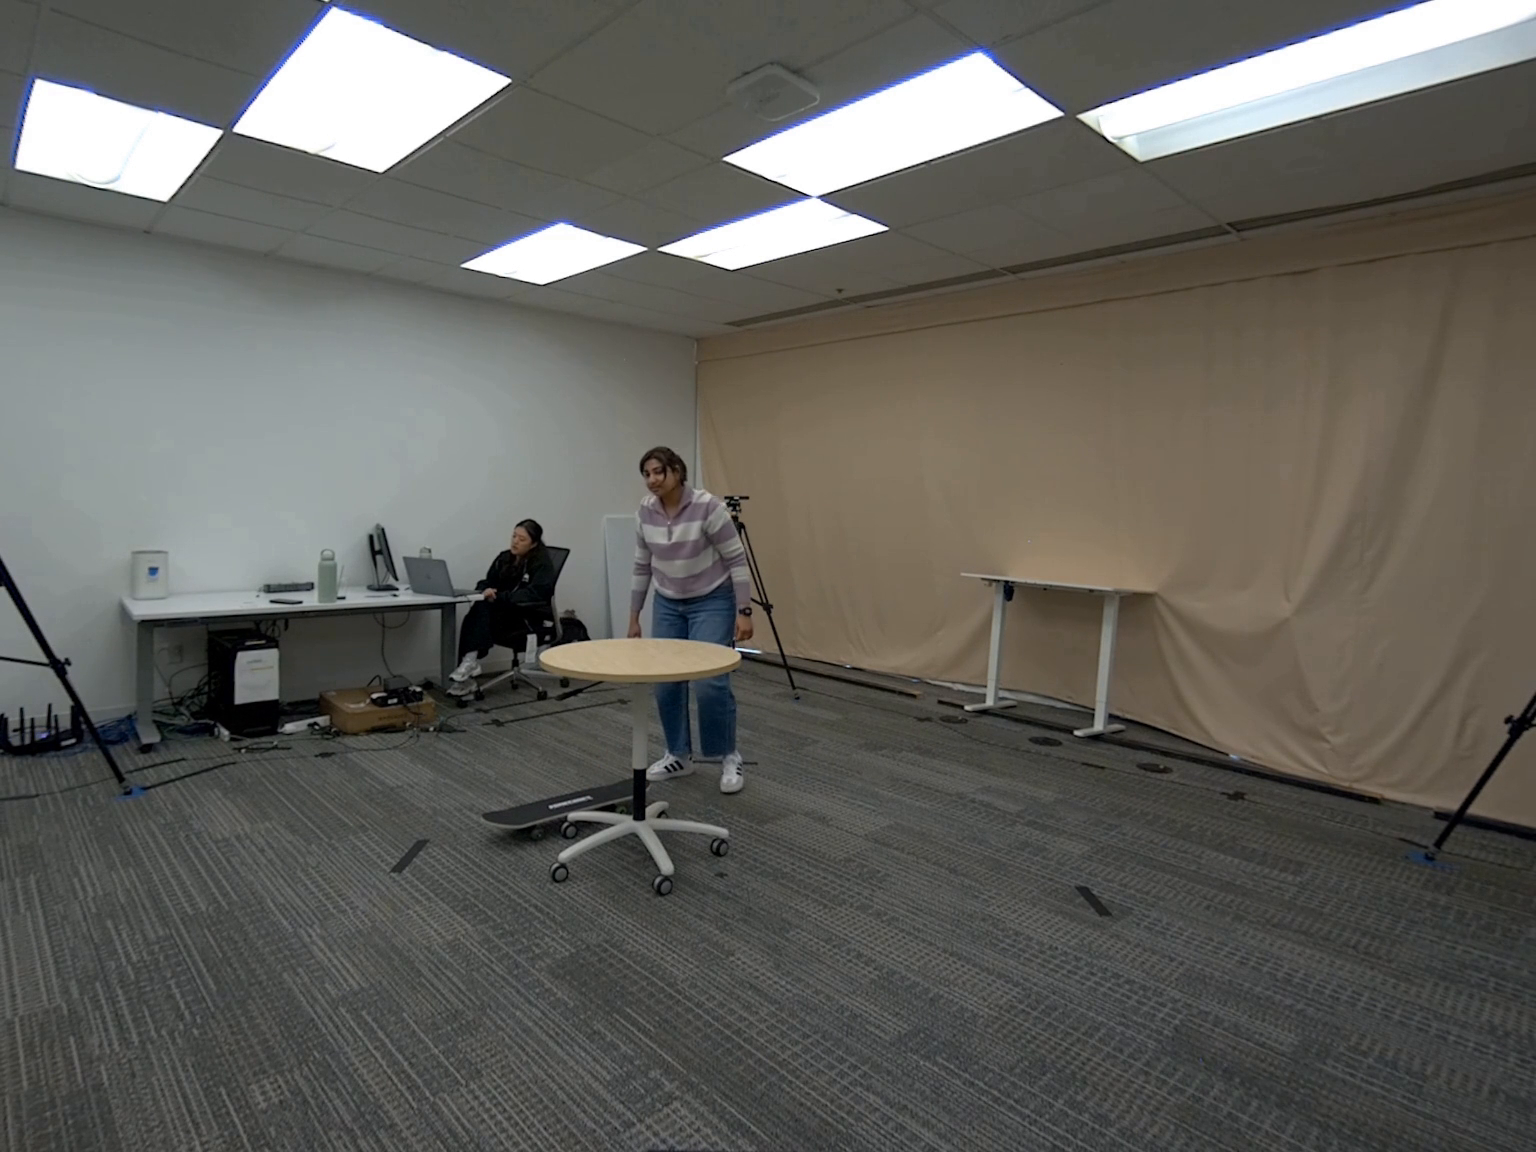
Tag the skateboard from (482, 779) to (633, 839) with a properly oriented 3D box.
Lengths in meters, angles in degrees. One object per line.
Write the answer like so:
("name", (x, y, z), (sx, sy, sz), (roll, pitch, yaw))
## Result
("skateboard", (-0.840, 0.988, 3.559), (0.767, 0.110, 0.198), (-3, 6, -43))
